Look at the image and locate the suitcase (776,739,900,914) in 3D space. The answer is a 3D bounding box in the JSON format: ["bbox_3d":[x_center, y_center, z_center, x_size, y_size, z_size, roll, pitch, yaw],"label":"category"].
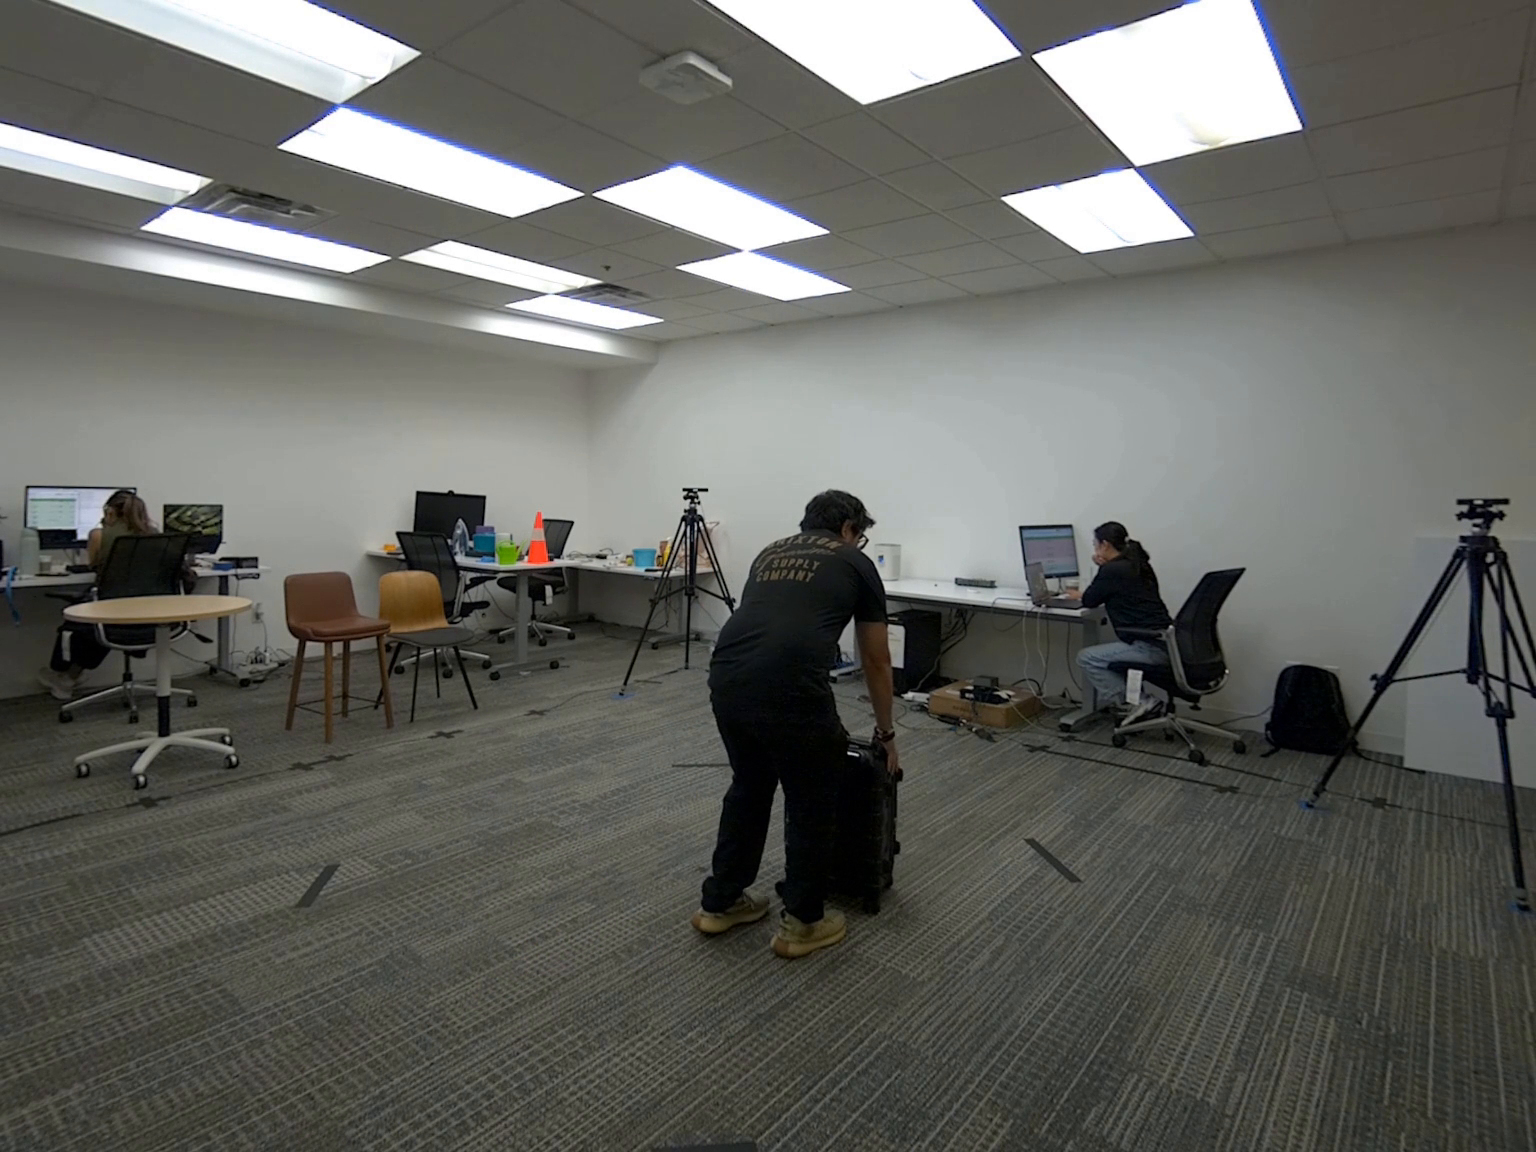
[{"bbox_3d":[0.248,0.819,2.942,0.385,0.547,0.243,4,4,23],"label":"suitcase"}]
